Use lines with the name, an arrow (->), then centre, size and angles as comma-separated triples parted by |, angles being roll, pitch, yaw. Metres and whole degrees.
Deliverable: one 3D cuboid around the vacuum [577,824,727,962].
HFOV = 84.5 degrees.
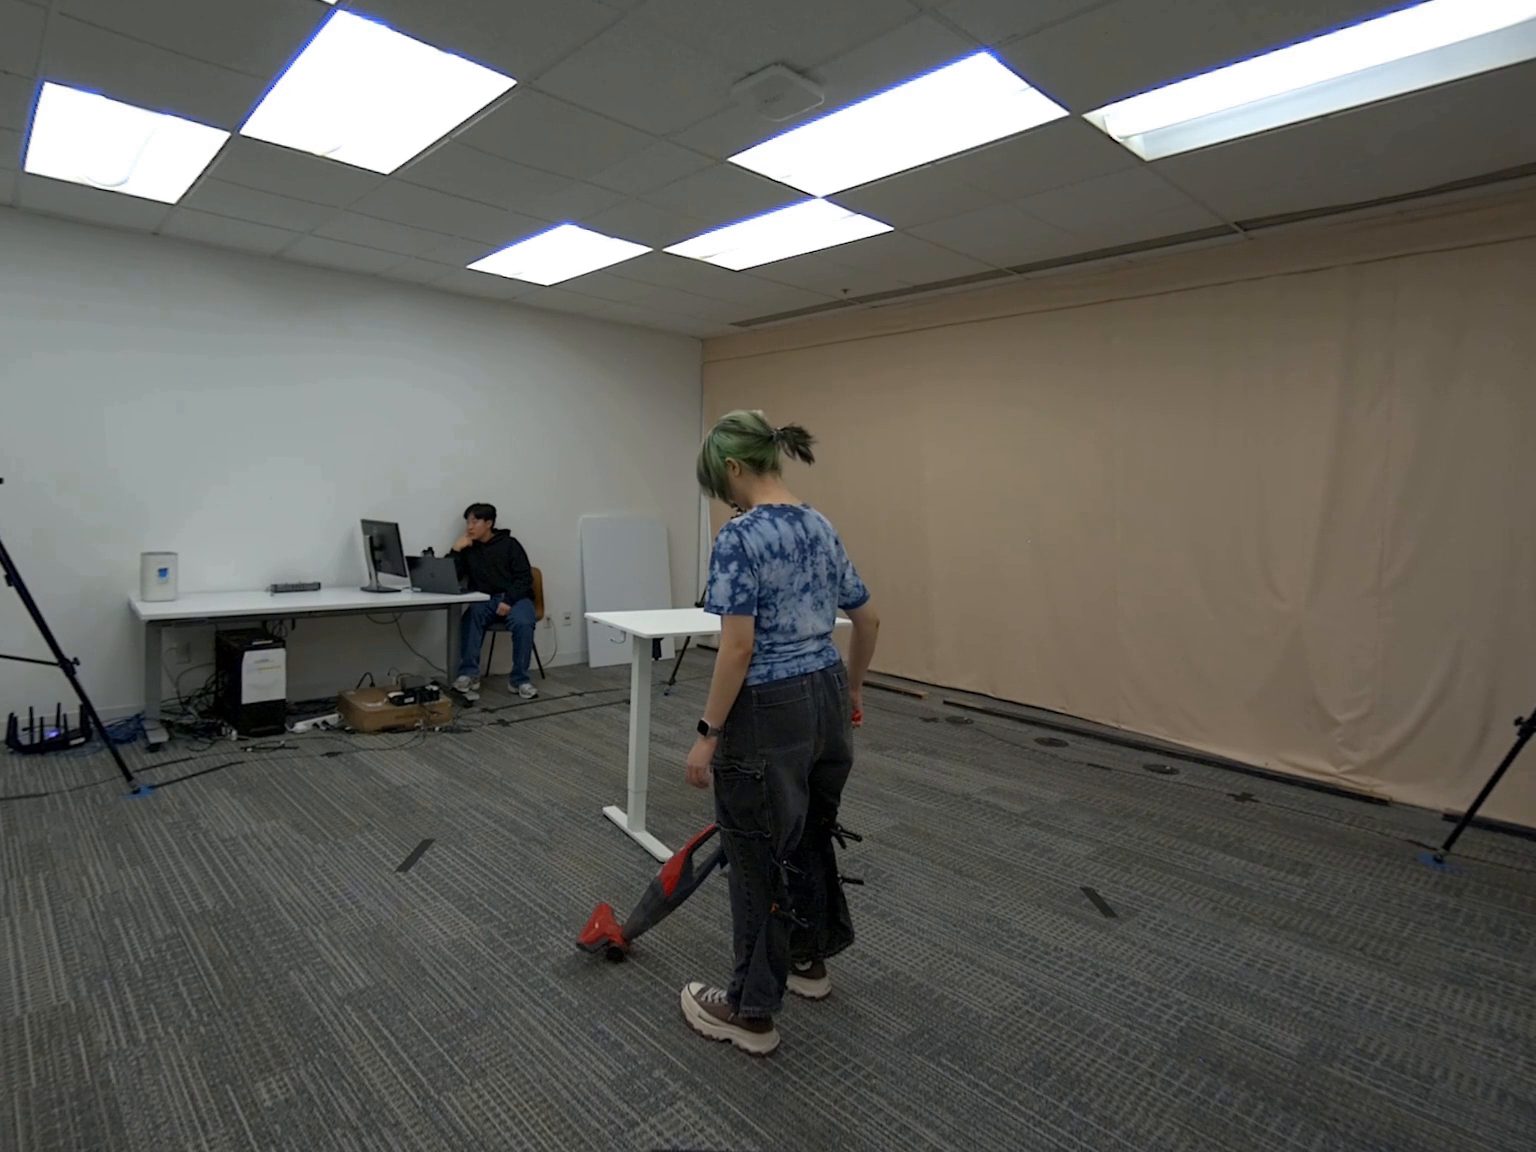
vacuum -> -0.135, 0.777, 2.503 | 1.050, 0.144, 0.252 | -41, -1, 7
